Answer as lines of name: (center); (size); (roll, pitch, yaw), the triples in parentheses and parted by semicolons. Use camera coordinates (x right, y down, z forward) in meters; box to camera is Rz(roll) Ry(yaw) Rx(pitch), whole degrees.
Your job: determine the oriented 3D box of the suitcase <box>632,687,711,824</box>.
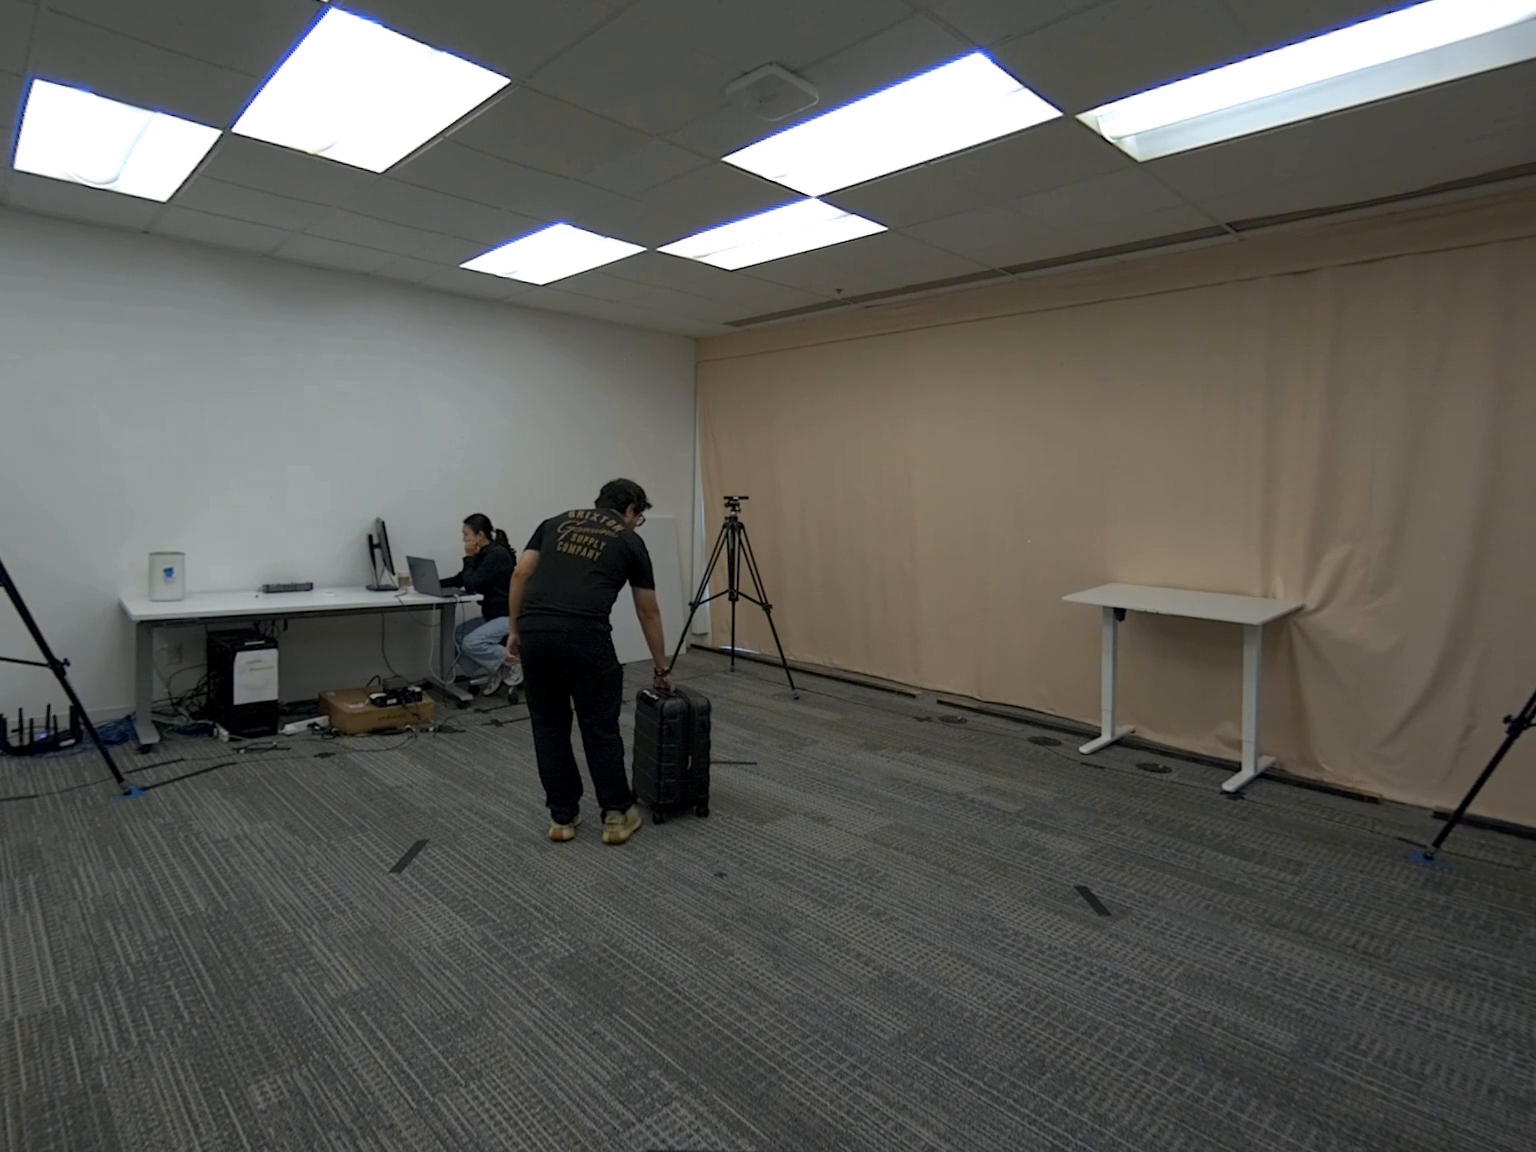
suitcase: (-0.438, 0.766, 3.732); (0.243, 0.548, 0.384); (1, 5, -31)
